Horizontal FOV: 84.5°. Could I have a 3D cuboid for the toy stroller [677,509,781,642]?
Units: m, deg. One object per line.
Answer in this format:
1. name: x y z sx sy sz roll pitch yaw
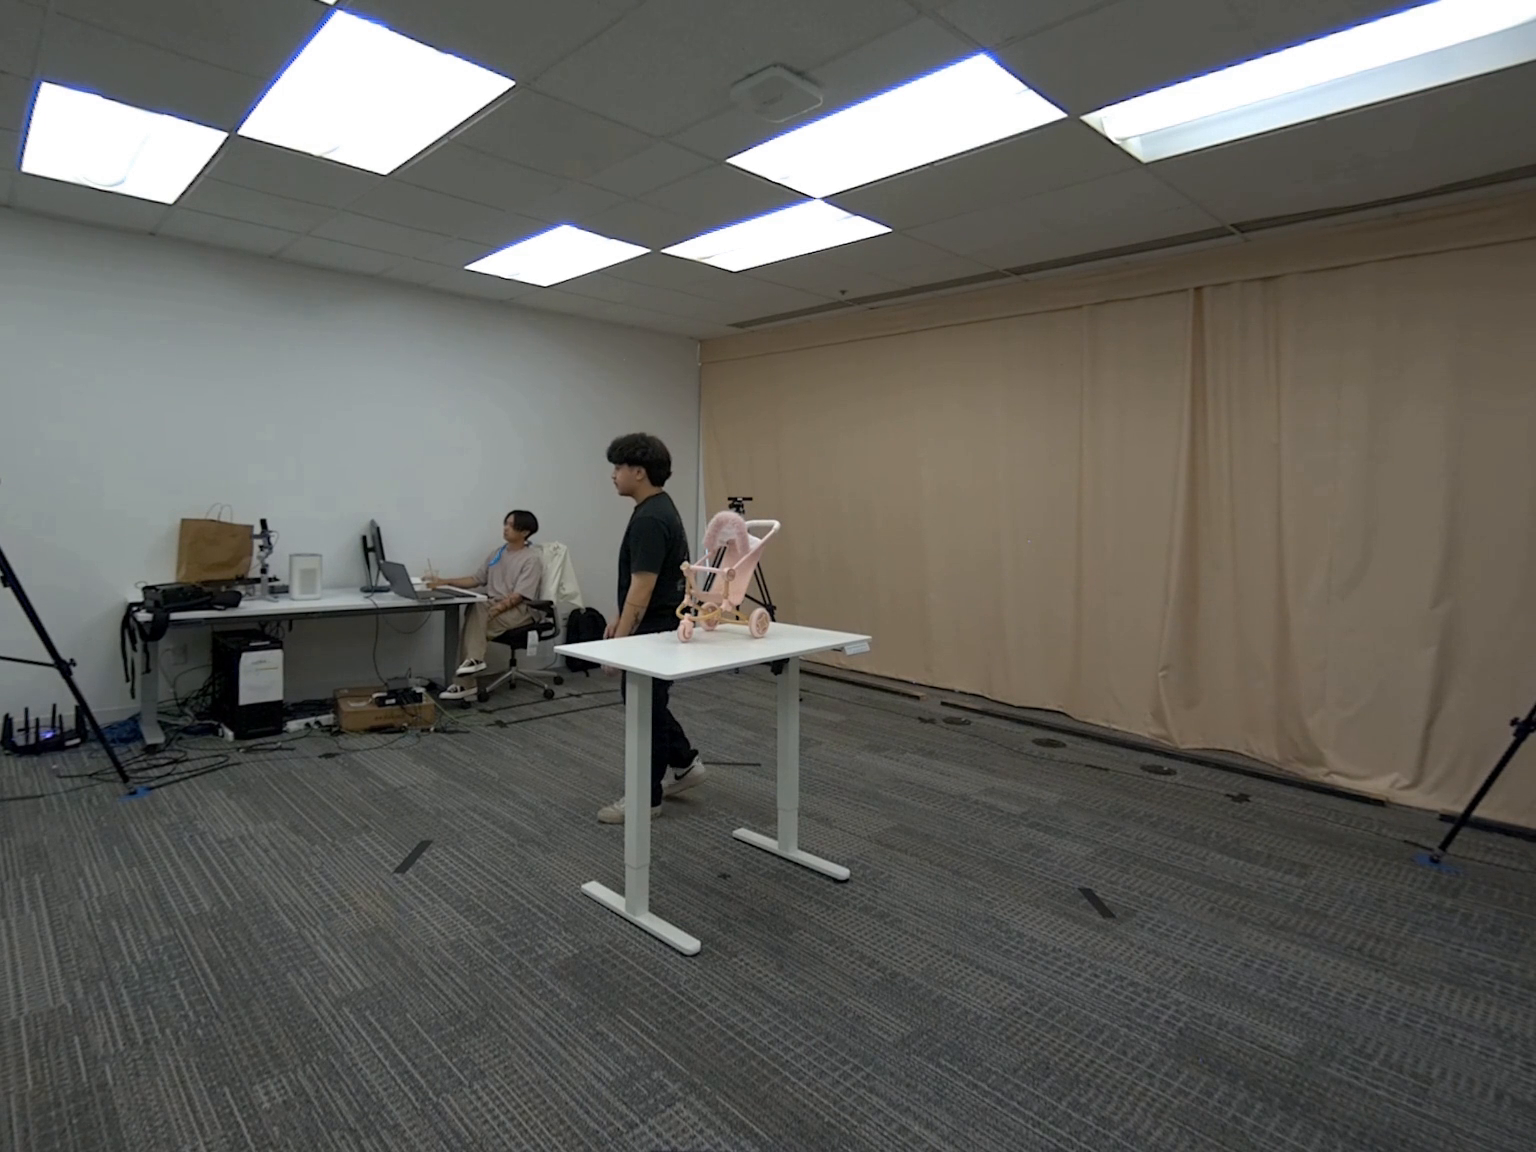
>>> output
1. toy stroller: -0.172 0.002 3.098 0.288 0.538 0.331 3 -12 44
